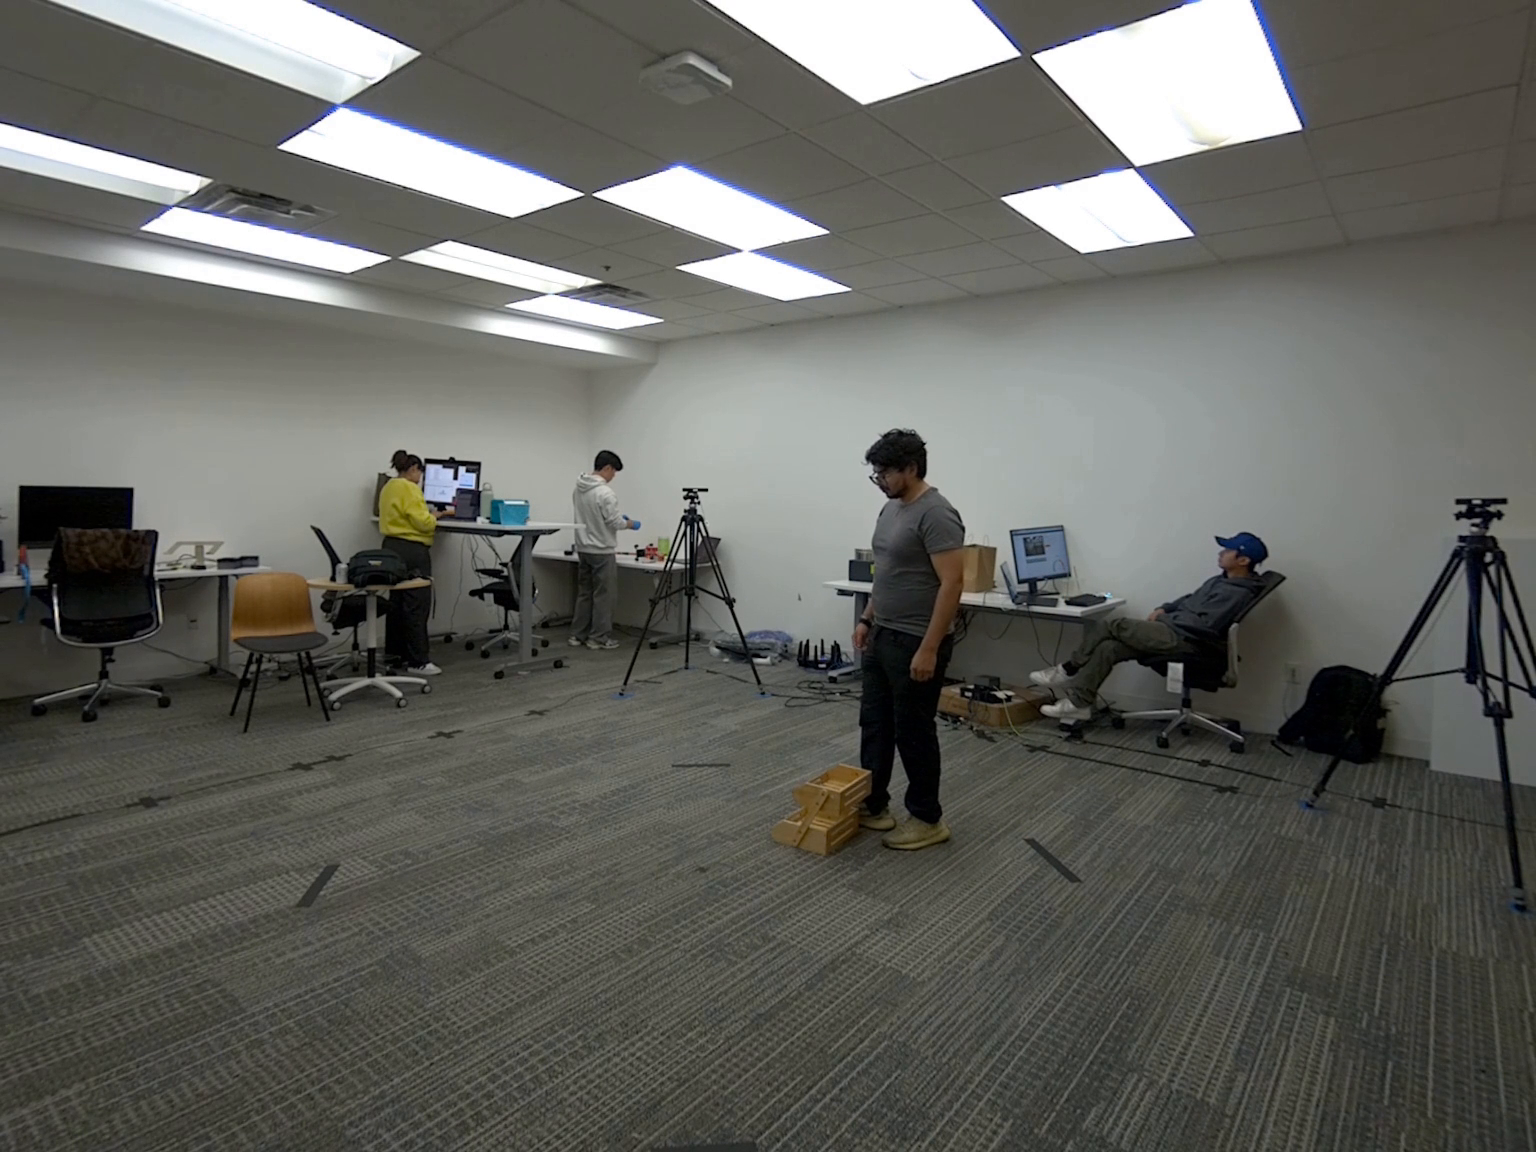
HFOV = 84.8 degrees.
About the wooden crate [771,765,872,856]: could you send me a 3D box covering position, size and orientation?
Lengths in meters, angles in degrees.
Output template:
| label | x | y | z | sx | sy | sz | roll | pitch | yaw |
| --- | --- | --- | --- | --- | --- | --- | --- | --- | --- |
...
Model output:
| label | x | y | z | sx | sy | sz | roll | pitch | yaw |
| --- | --- | --- | --- | --- | --- | --- | --- | --- | --- |
| wooden crate | 0.205 | 0.915 | 3.428 | 0.311 | 0.272 | 0.316 | 5 | 6 | 32 |
